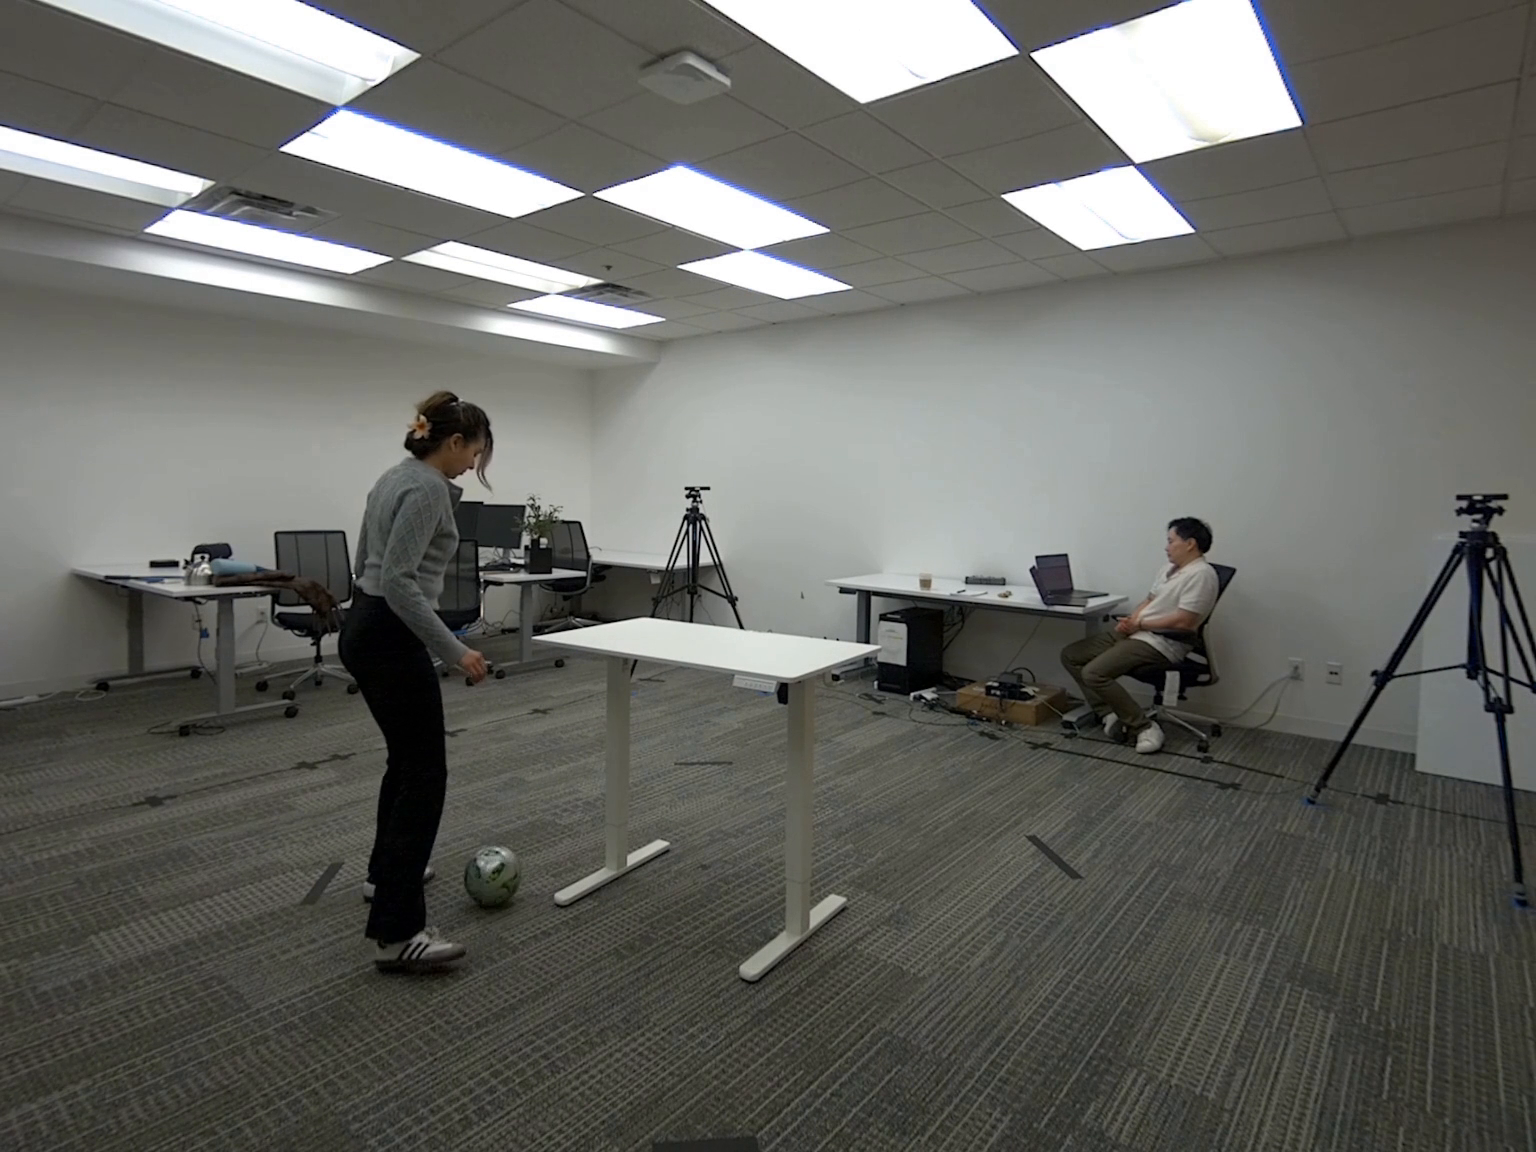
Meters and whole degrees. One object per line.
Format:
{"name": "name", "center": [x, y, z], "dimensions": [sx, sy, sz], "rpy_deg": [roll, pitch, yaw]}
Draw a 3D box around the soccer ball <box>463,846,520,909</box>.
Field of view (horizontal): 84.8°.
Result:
{"name": "soccer ball", "center": [-0.918, 0.993, 2.817], "dimensions": [0.187, 0.187, 0.188], "rpy_deg": [0, 4, -2]}
